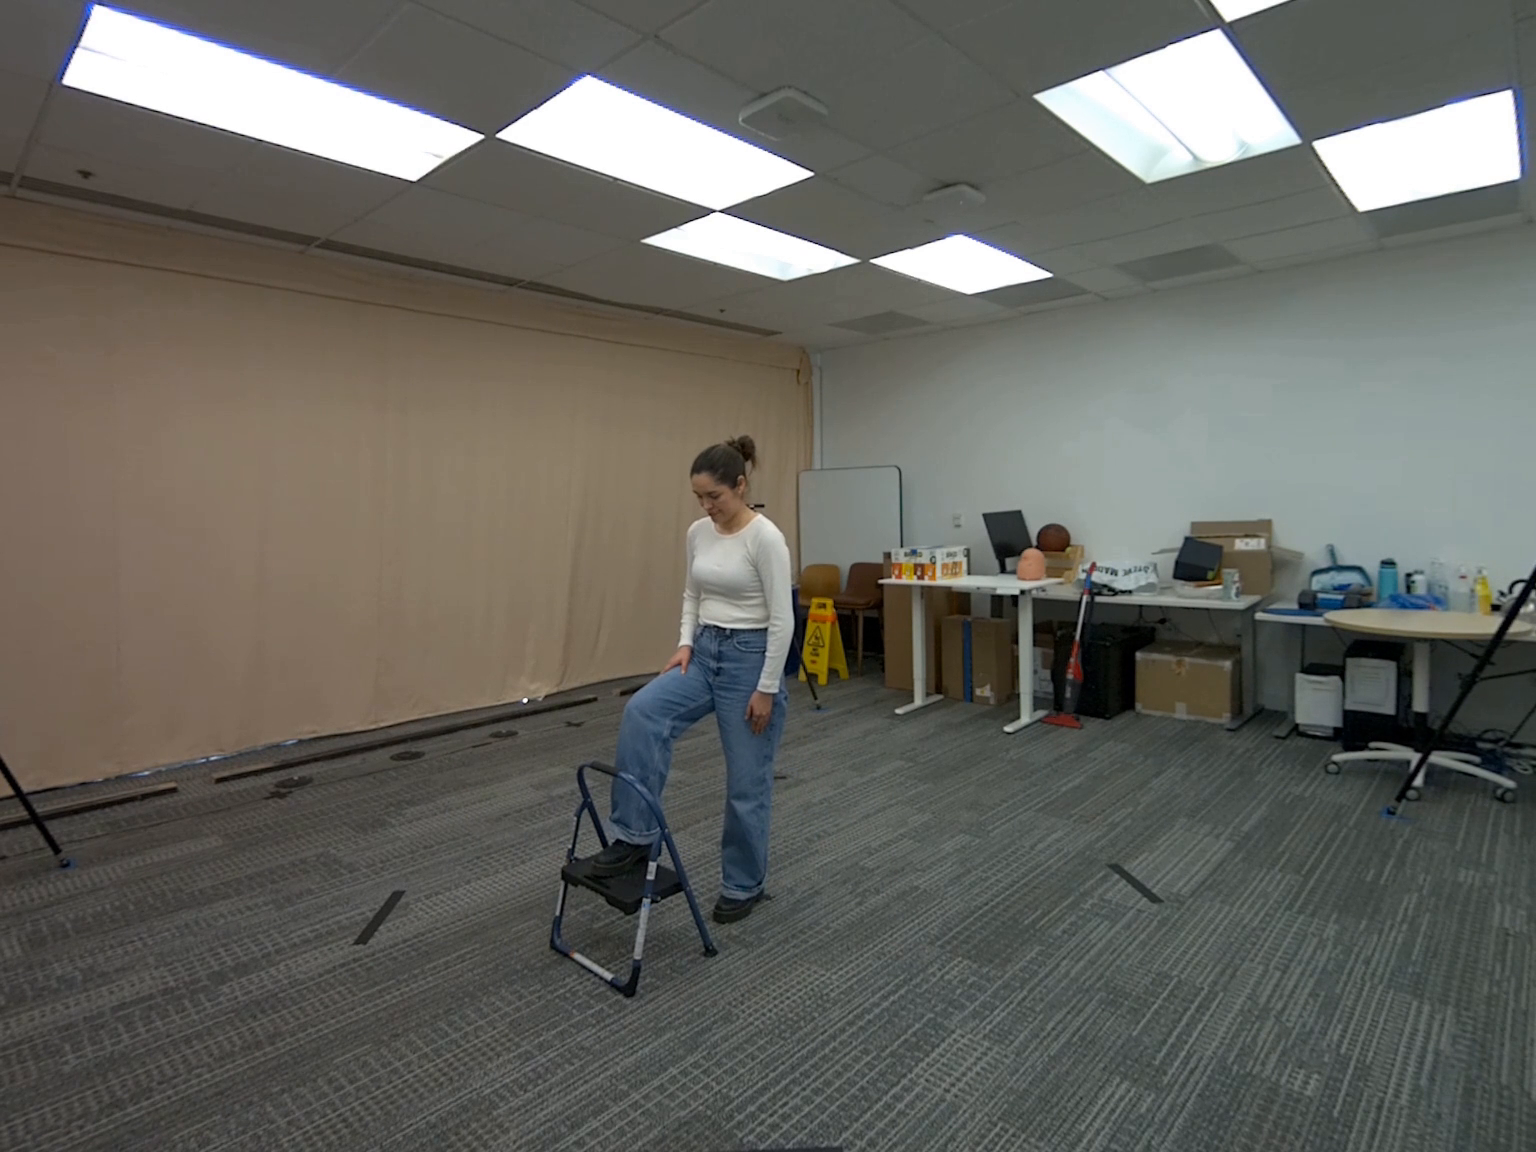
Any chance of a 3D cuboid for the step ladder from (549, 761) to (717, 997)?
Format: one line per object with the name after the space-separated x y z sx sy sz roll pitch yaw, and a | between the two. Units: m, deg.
-0.433 0.877 2.632 0.445 0.605 0.339 2 4 43 | step ladder
